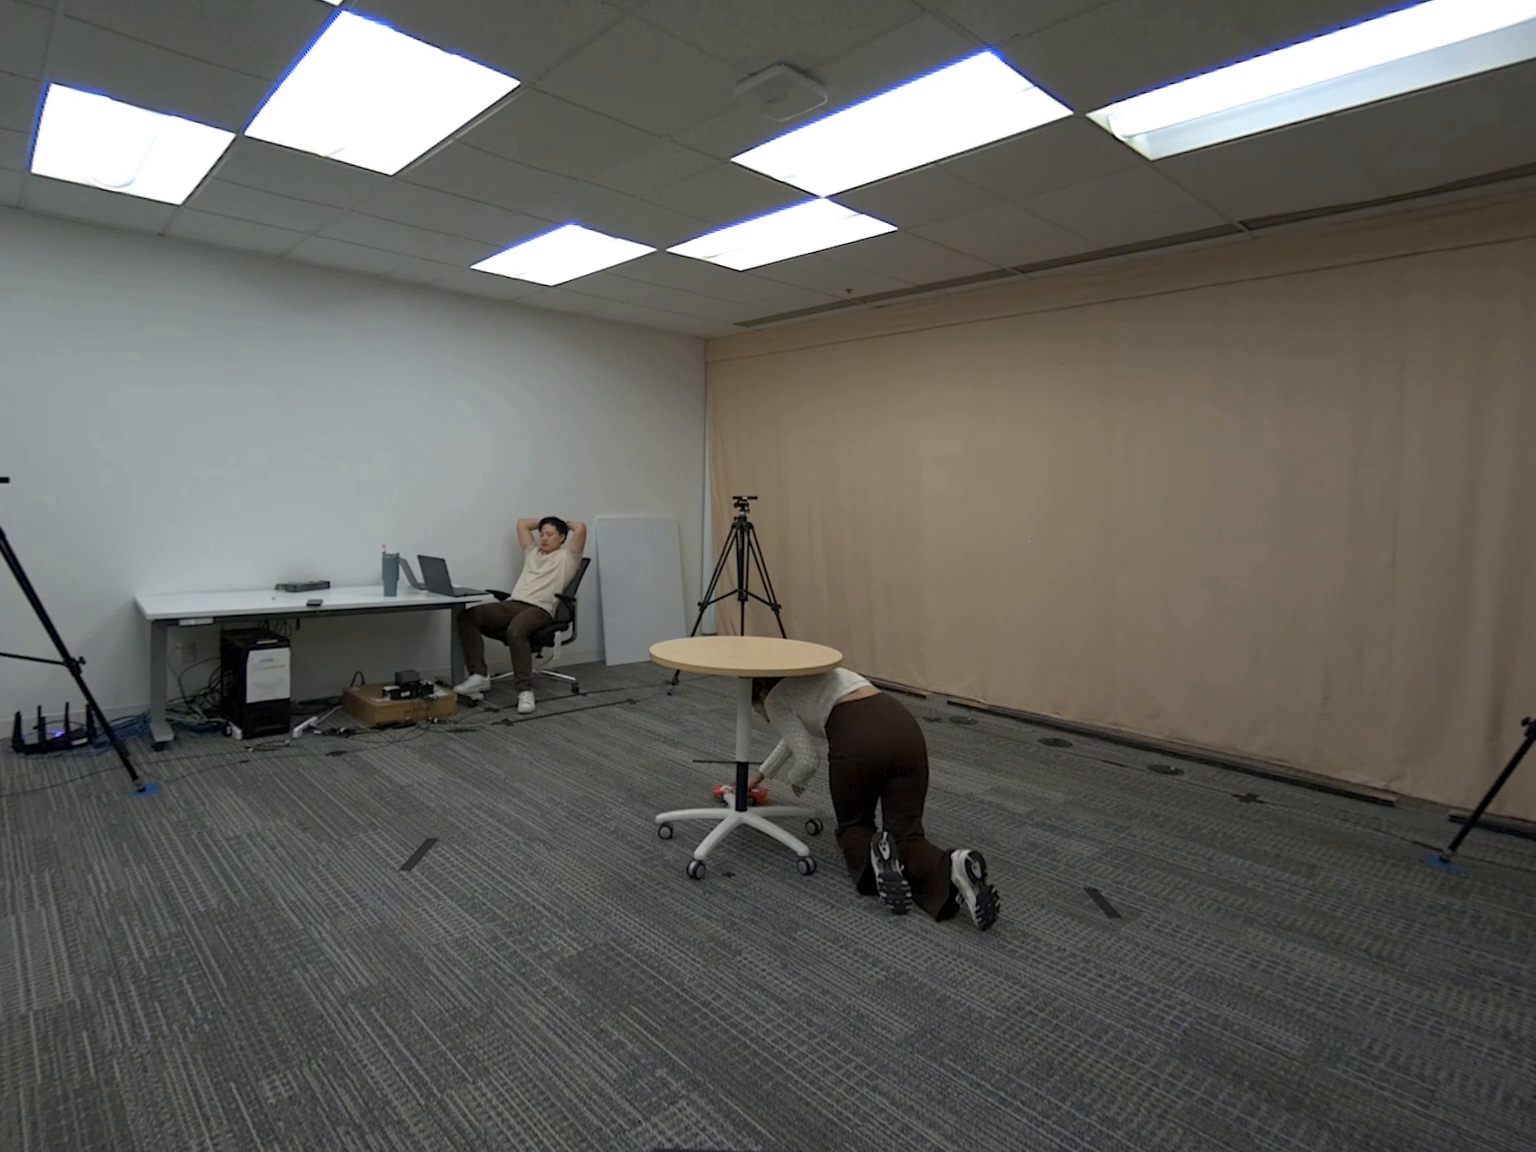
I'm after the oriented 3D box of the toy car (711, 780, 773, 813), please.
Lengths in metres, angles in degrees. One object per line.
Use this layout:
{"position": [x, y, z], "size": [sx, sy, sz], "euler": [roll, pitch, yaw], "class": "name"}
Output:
{"position": [-0.120, 1.009, 3.882], "size": [0.256, 0.083, 0.129], "euler": [-7, 2, 10], "class": "toy car"}
